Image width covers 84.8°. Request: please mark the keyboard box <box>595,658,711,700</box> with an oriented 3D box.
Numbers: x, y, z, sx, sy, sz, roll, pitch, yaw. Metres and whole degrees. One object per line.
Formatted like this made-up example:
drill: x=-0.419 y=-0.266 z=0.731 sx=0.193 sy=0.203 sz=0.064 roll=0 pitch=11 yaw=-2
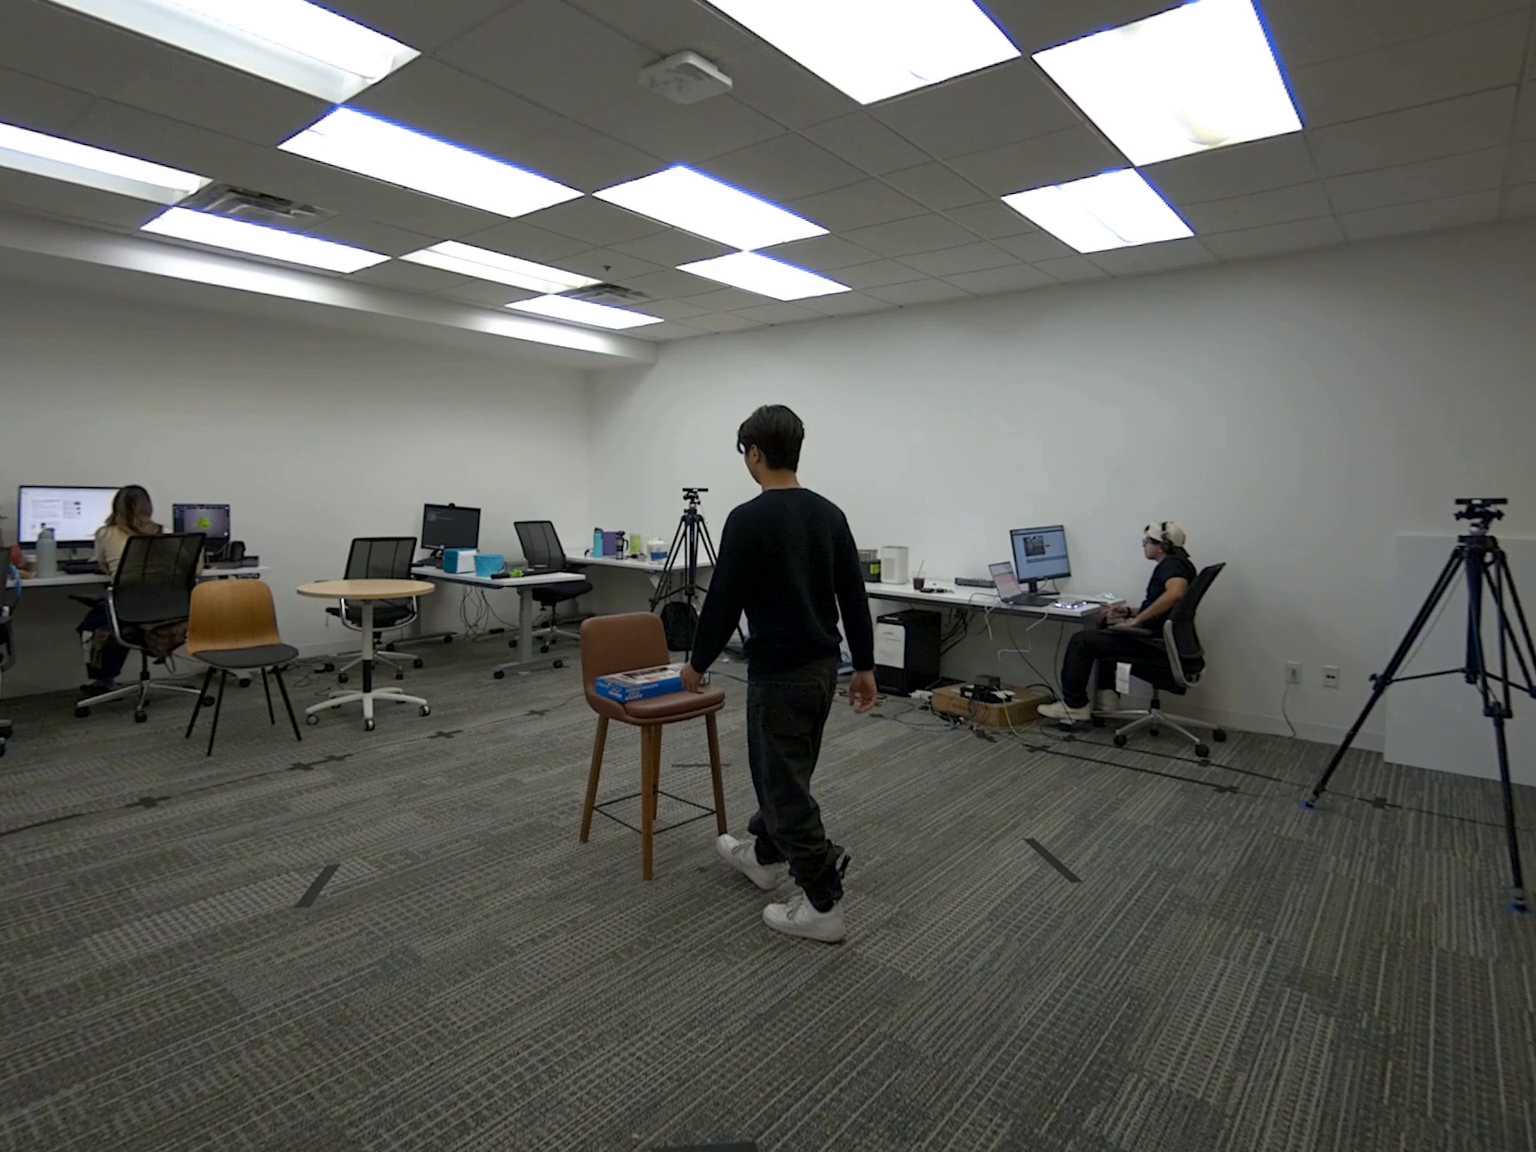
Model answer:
keyboard box: x=-0.443 y=0.395 z=3.280 sx=0.182 sy=0.059 sz=0.424 roll=9 pitch=10 yaw=42
